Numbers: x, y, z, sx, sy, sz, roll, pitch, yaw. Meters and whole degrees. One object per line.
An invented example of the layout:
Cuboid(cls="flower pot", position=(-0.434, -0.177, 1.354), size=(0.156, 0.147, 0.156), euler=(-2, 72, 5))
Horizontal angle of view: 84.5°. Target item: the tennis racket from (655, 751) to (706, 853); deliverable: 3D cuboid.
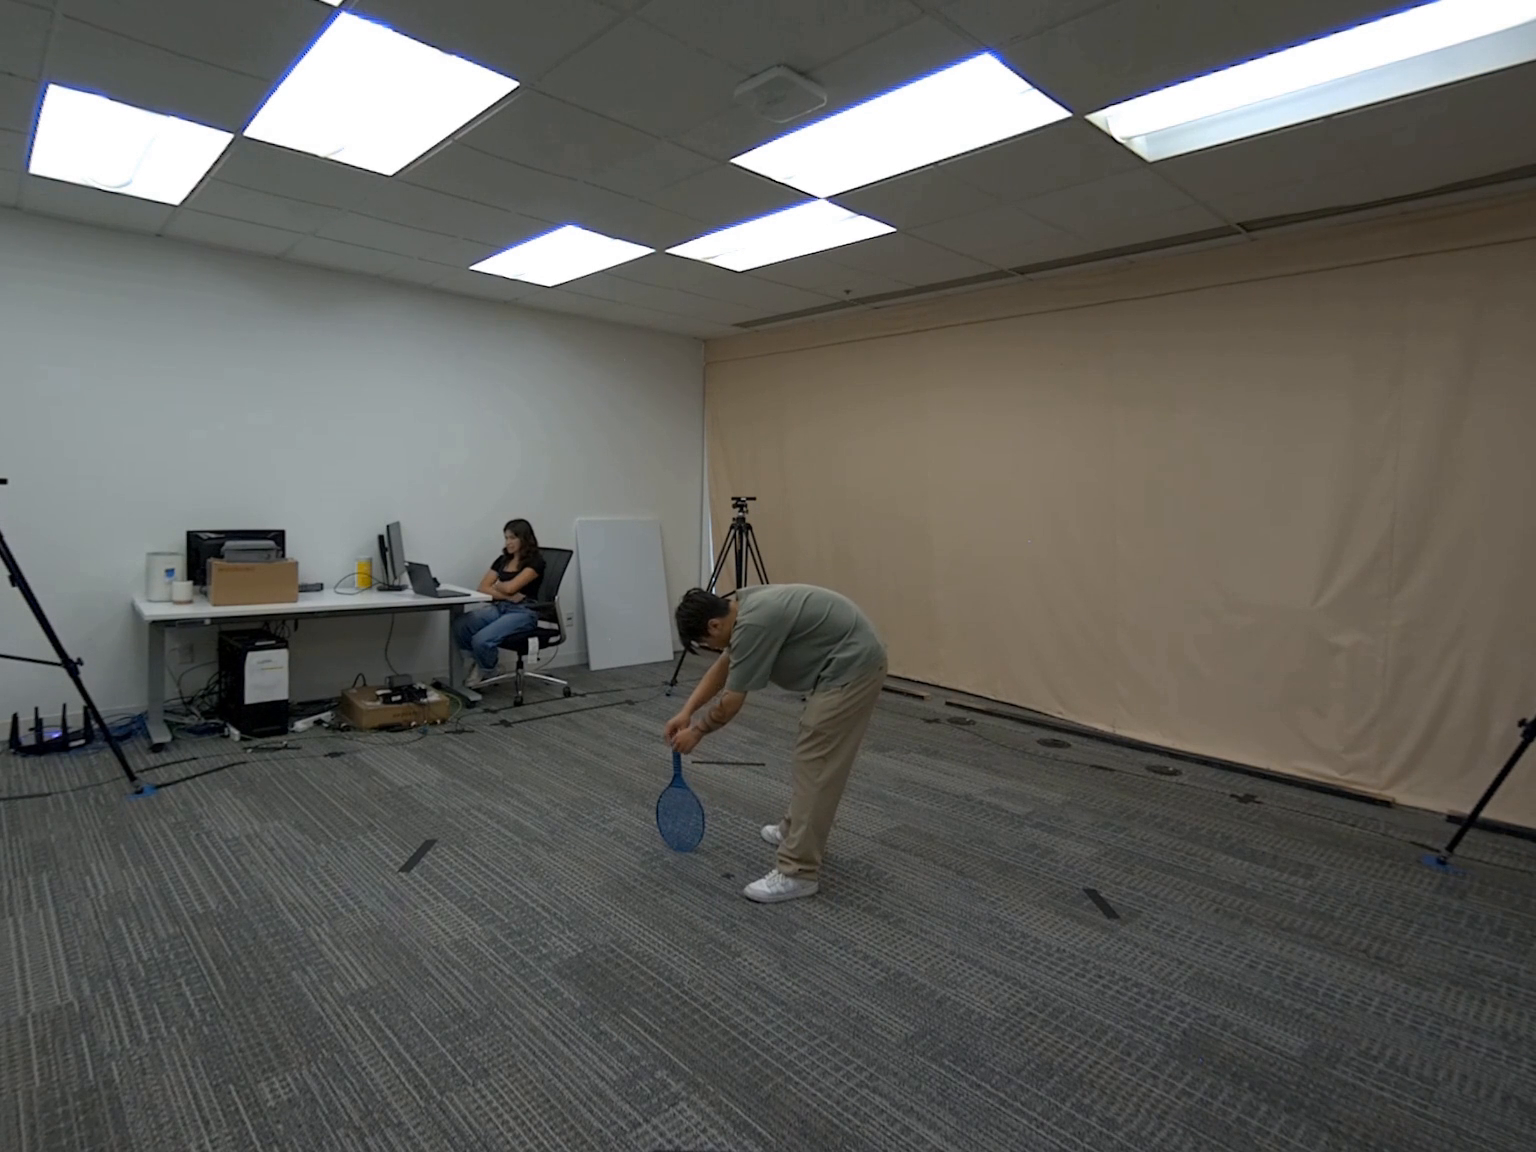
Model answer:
Cuboid(cls="tennis racket", position=(-0.347, 0.862, 3.296), size=(0.217, 0.432, 0.031), euler=(-2, 3, 24))
